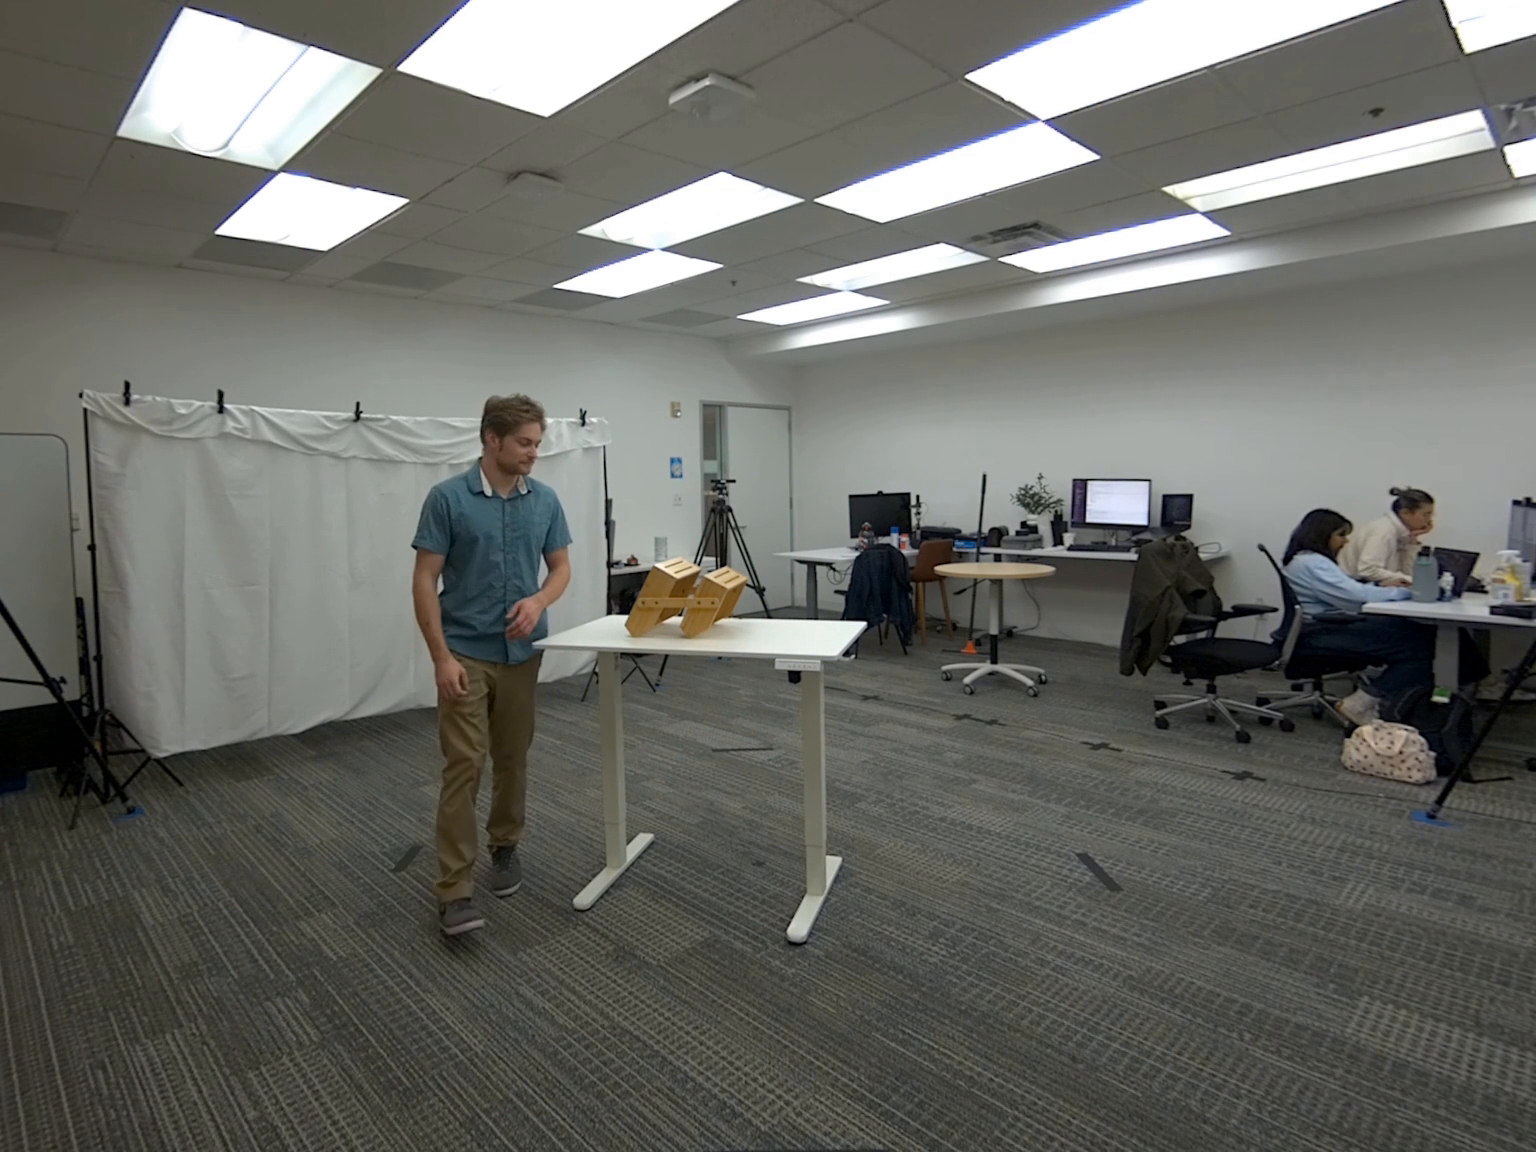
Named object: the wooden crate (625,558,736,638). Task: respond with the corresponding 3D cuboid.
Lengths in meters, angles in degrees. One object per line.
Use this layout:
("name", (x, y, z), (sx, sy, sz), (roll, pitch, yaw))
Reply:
("wooden crate", (-0.267, 0.099, 2.933), (0.277, 0.300, 0.322), (27, 11, 9))
